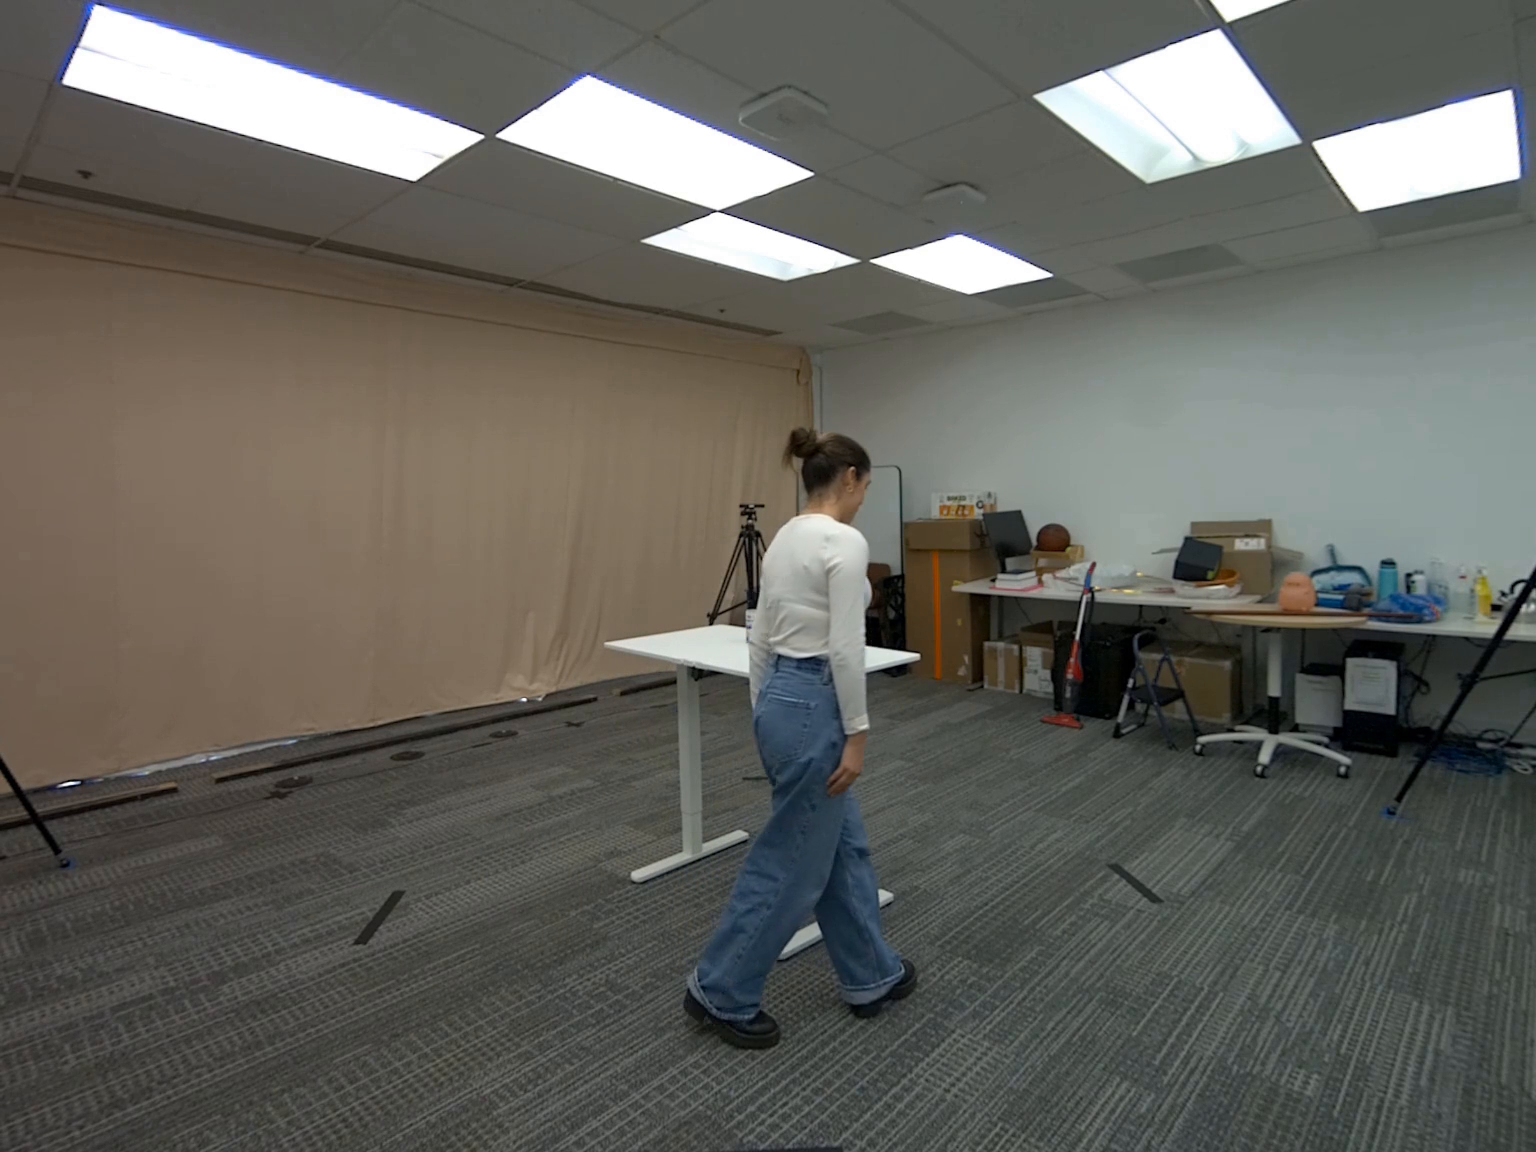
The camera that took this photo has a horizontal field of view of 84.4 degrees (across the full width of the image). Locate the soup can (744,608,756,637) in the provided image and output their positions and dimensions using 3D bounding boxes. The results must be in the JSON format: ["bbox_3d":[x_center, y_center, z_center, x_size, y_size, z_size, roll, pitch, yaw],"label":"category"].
[{"bbox_3d":[-0.041,0.190,3.104,0.067,0.121,0.067,2,7,-2],"label":"soup can"}]
